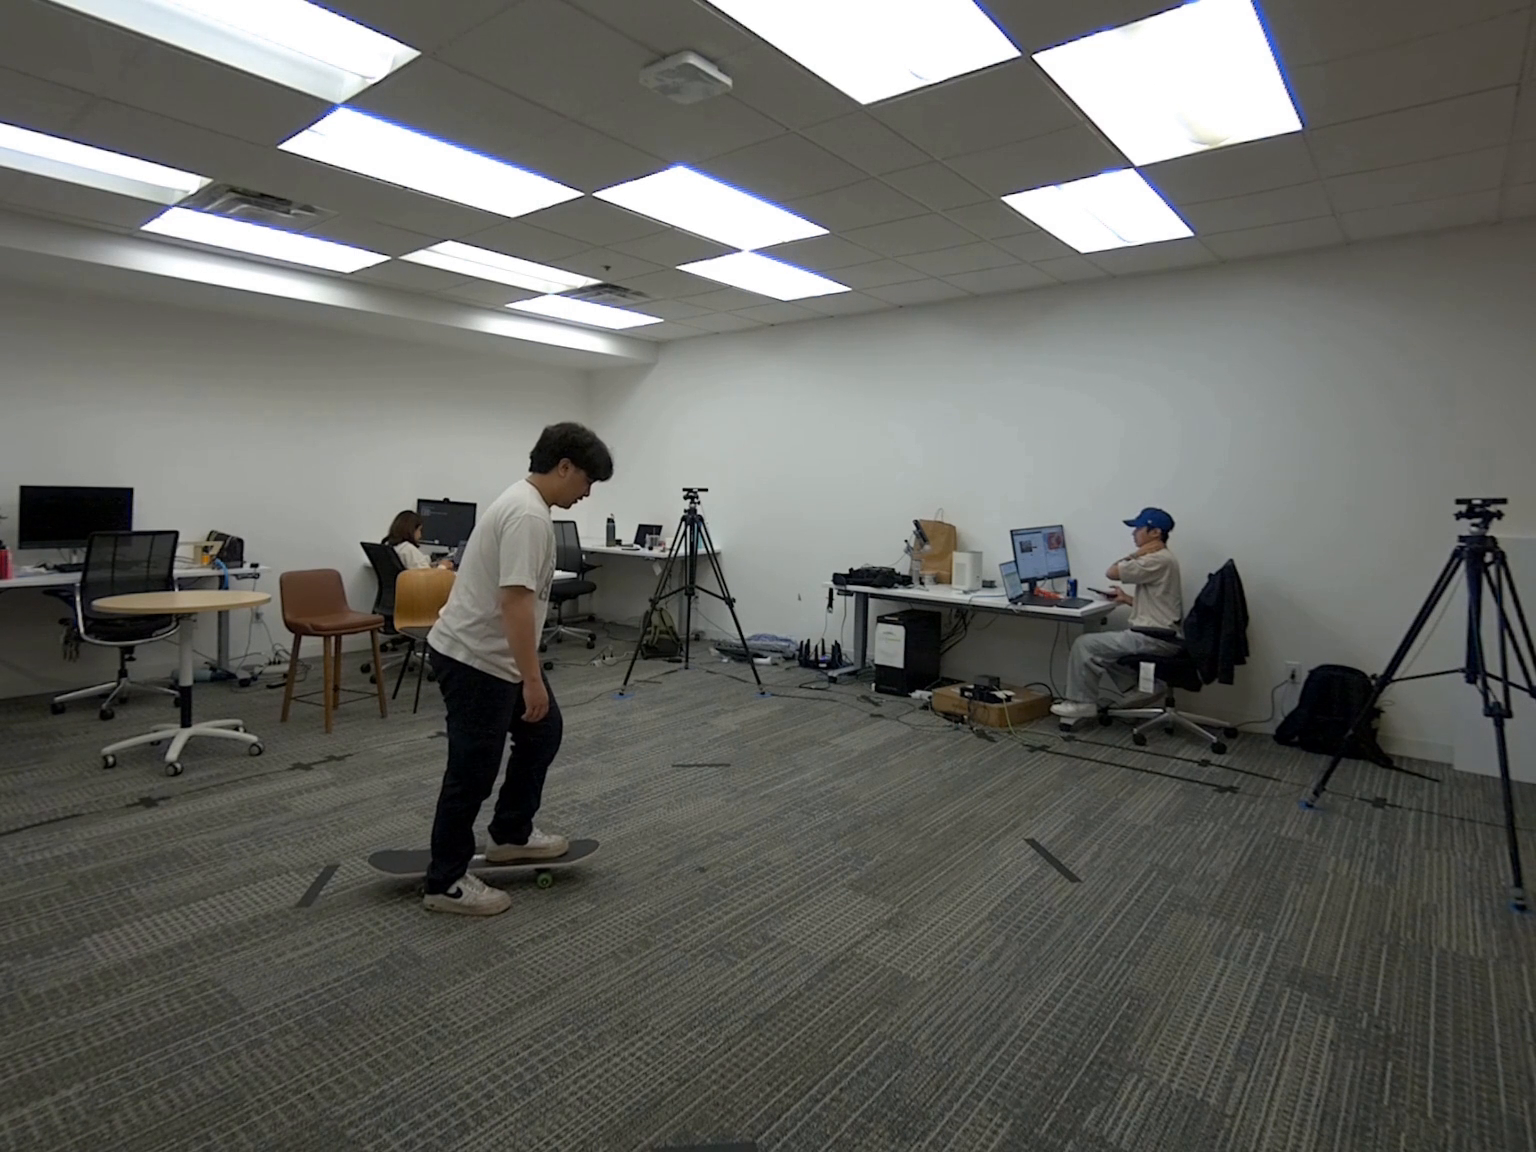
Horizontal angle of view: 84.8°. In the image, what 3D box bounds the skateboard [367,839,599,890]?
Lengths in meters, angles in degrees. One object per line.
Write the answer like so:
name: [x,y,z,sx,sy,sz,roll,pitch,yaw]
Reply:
skateboard: [-0.997,1.014,2.982,0.776,0.110,0.196,0,5,-11]
